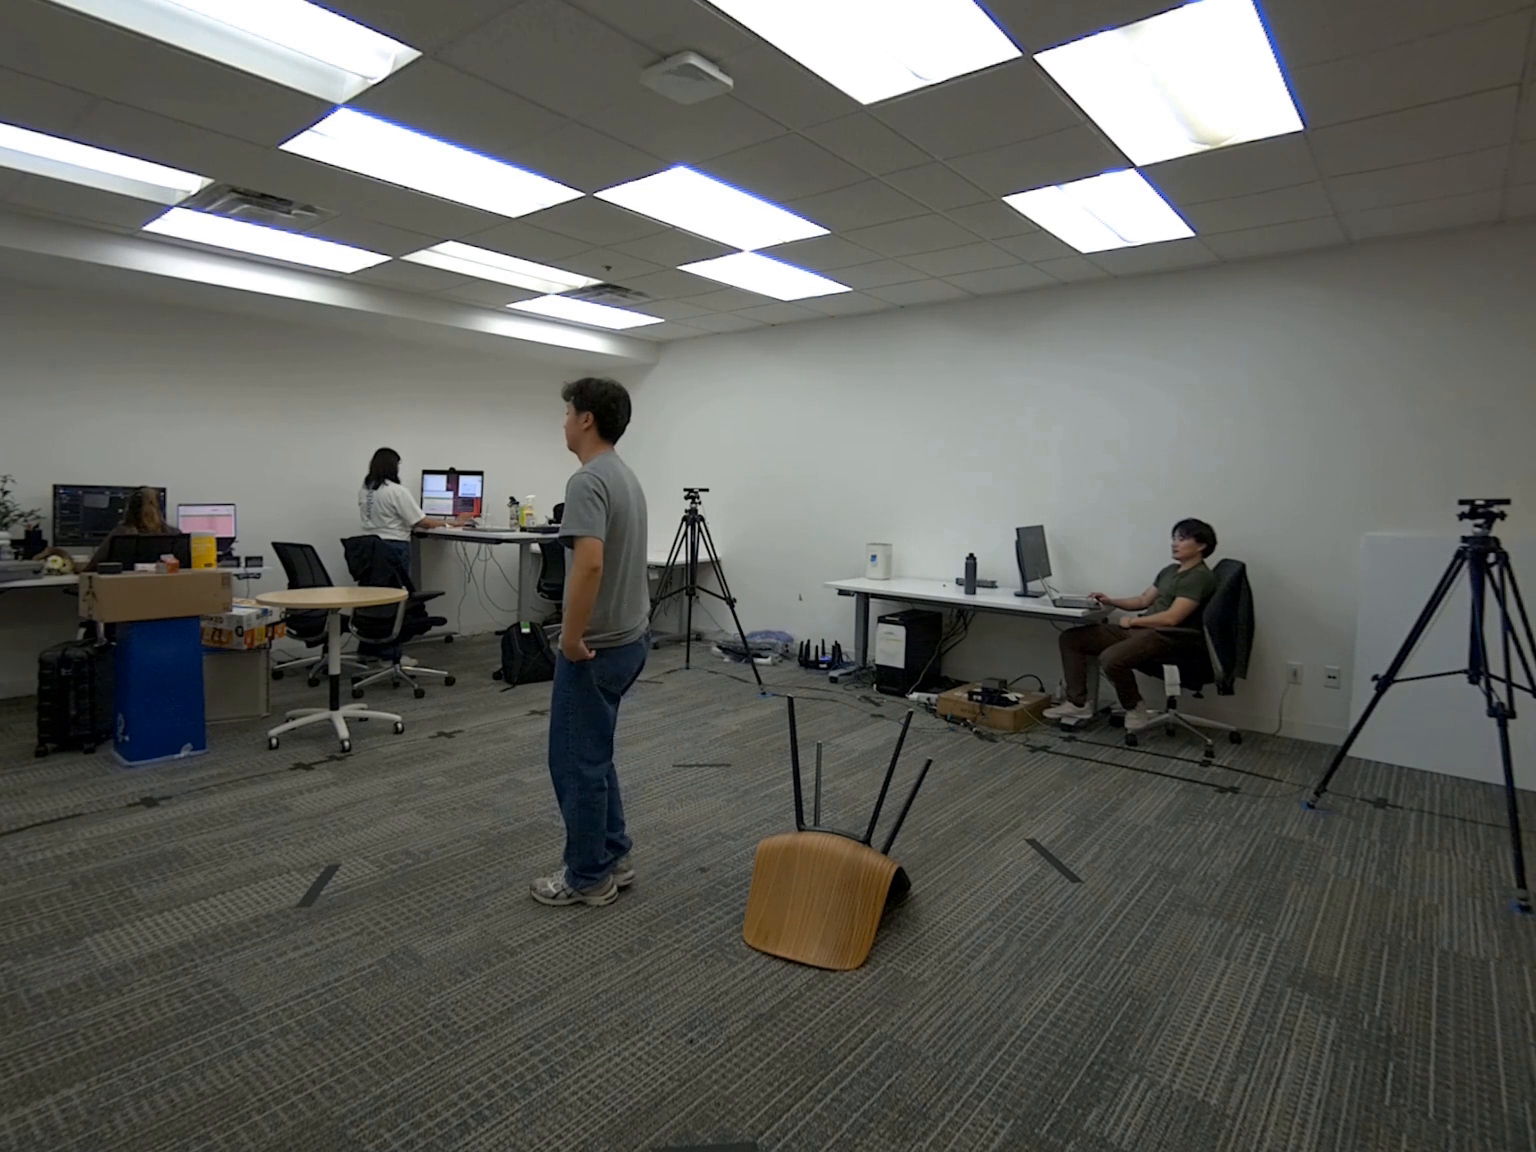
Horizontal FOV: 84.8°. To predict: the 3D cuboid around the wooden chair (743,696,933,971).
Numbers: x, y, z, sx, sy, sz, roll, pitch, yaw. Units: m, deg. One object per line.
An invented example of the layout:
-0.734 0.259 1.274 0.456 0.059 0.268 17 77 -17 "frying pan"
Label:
0.240 0.928 2.921 0.490 0.891 0.503 3 -36 22 "wooden chair"
